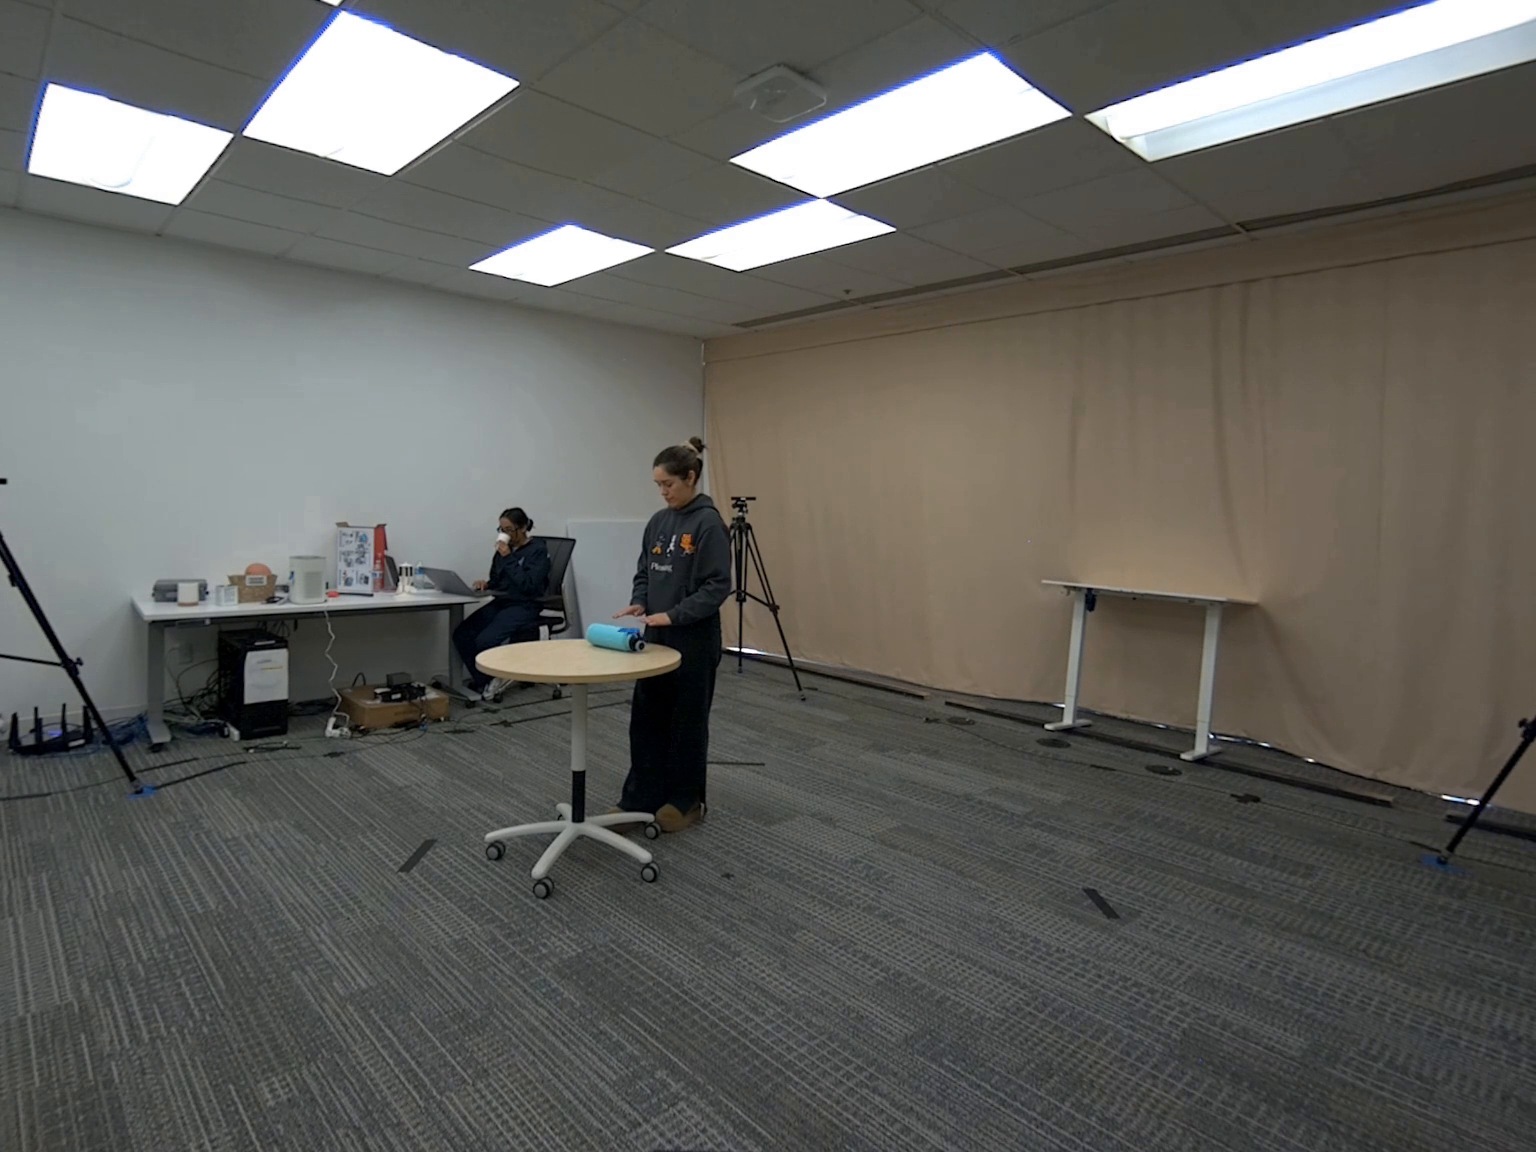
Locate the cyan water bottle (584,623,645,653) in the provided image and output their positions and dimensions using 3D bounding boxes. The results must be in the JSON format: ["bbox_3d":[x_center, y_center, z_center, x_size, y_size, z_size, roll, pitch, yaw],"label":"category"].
[{"bbox_3d":[-0.615,0.248,3.352,0.290,0.092,0.090,4,6,36],"label":"cyan water bottle"}]
